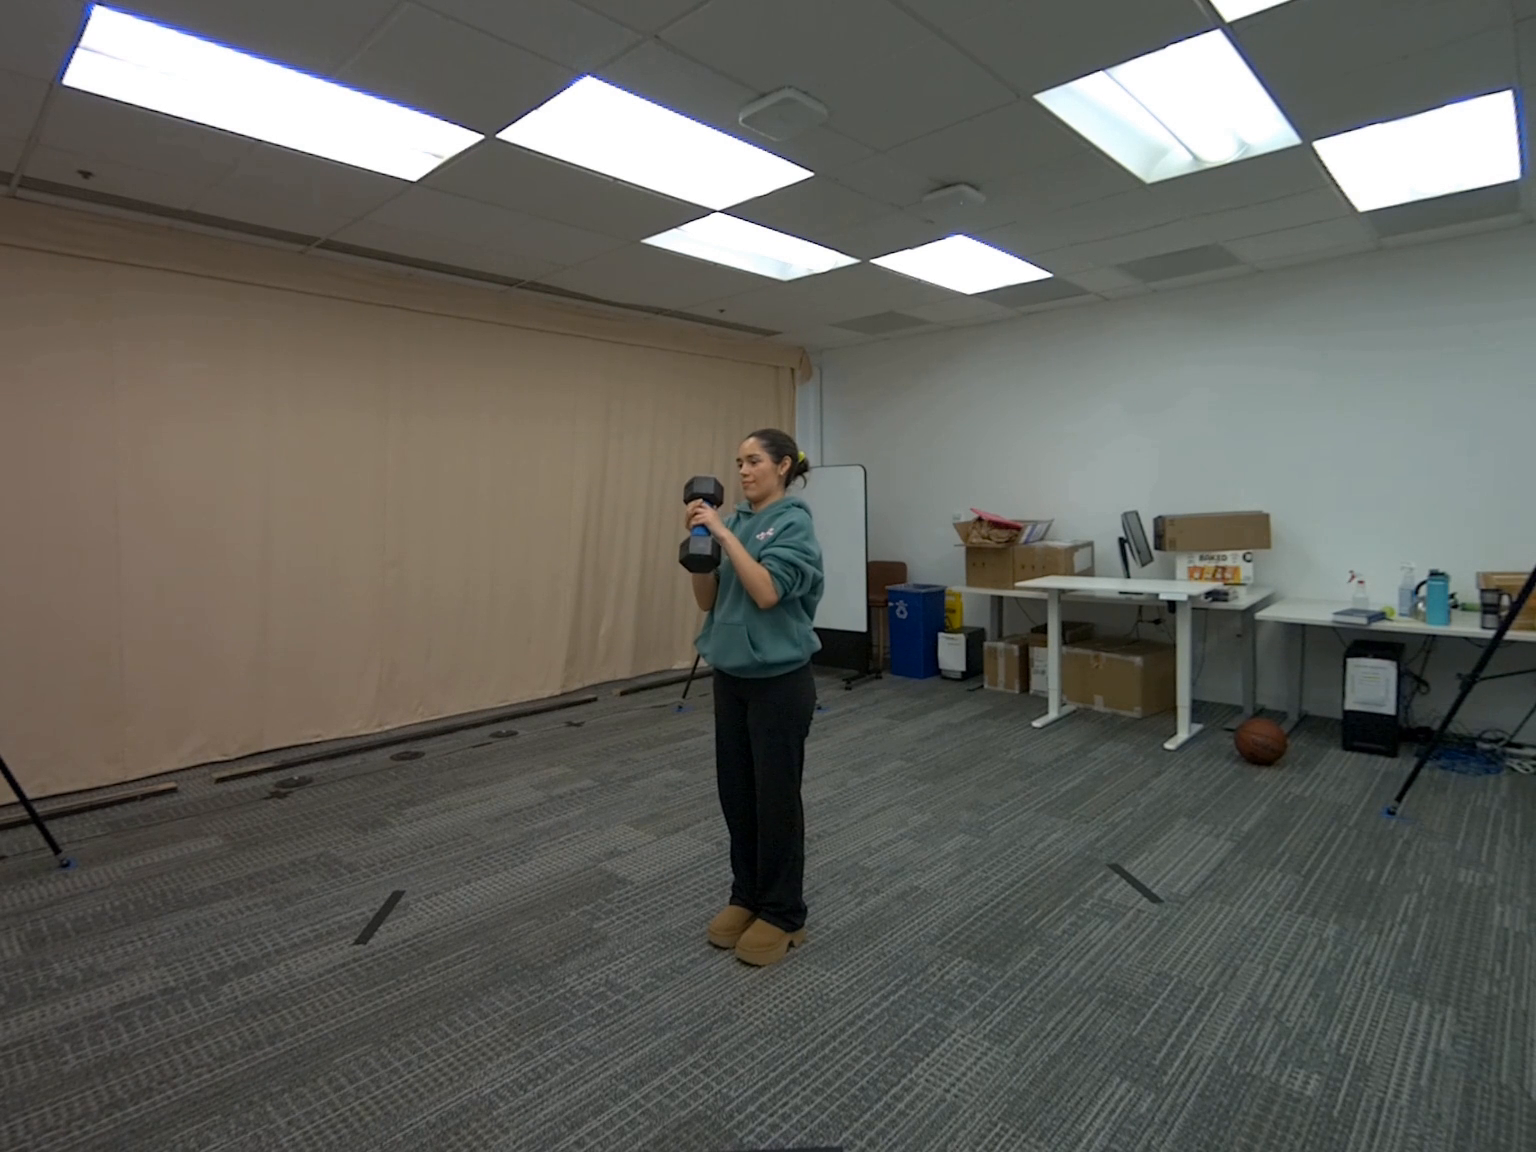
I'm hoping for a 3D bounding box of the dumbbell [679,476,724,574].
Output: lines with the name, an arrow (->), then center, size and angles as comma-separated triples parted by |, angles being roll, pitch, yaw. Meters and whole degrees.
dumbbell -> -0.191, -0.155, 2.510 | 0.111, 0.298, 0.119 | -11, -34, 24
